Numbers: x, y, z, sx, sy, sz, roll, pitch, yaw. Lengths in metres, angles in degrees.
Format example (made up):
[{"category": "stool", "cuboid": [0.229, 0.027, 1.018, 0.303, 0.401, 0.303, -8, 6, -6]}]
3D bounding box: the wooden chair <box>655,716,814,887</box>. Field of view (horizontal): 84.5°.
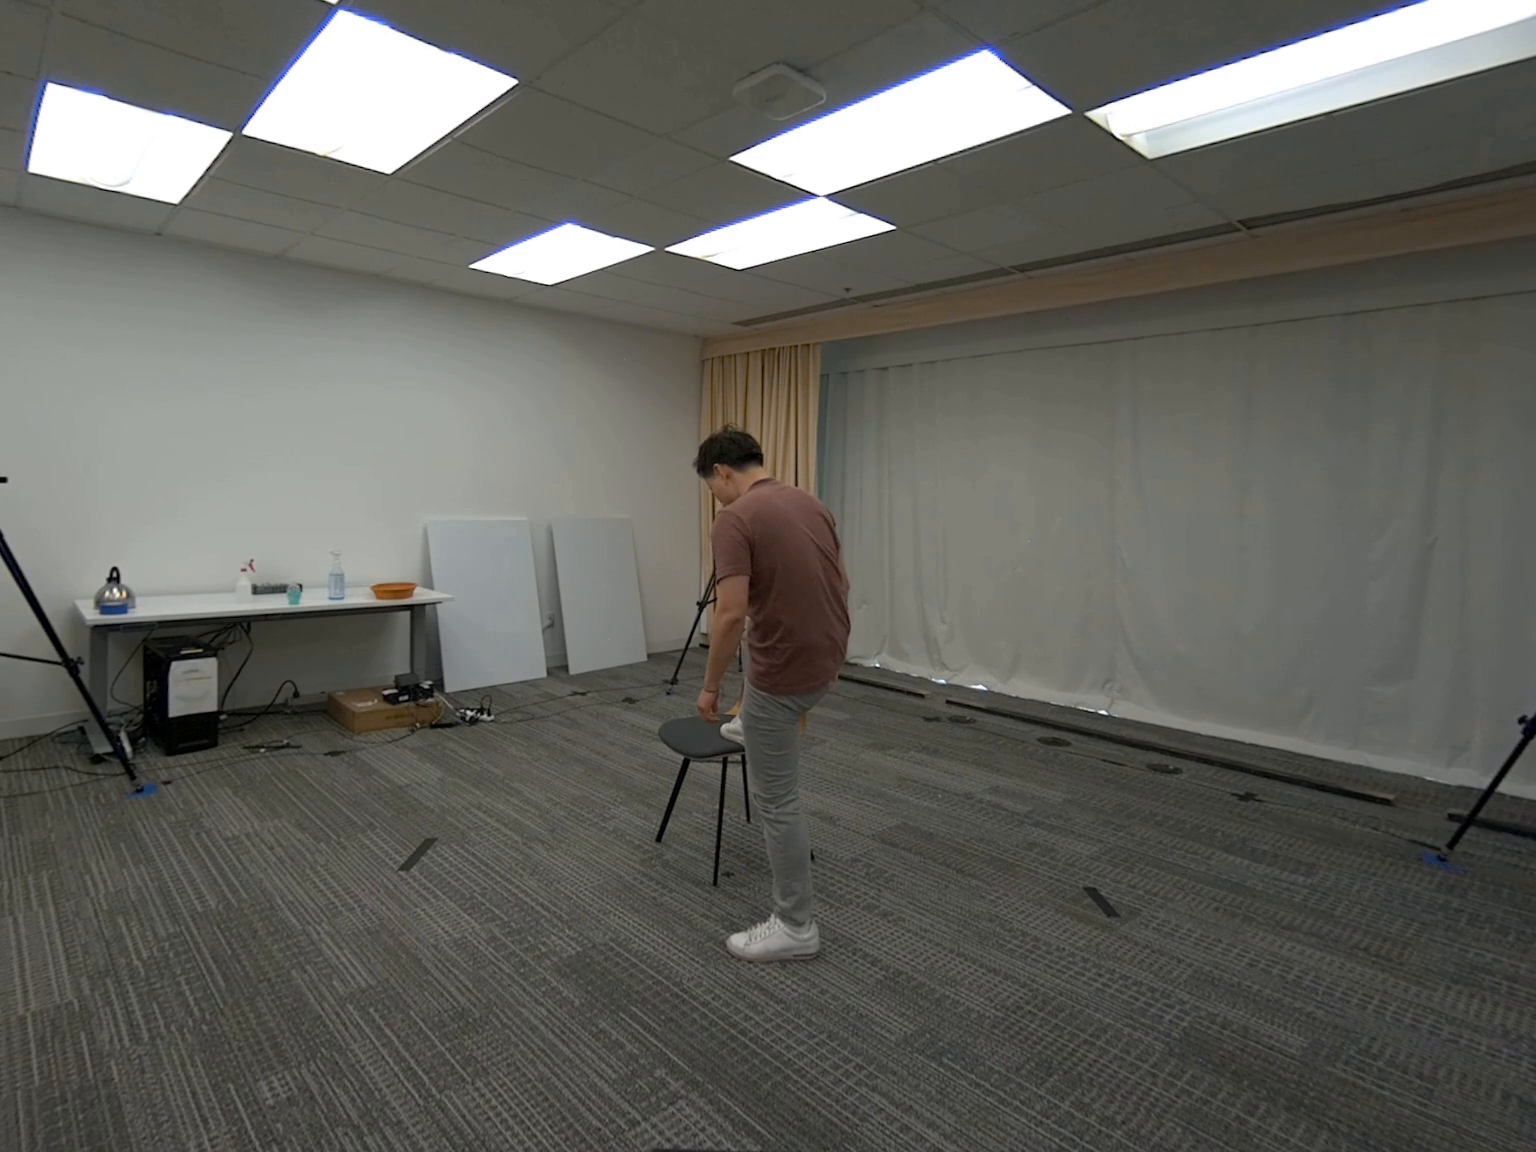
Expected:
[{"category": "wooden chair", "cuboid": [-0.139, 0.661, 3.279, 0.511, 0.877, 0.490, 4, 2, -35]}]
